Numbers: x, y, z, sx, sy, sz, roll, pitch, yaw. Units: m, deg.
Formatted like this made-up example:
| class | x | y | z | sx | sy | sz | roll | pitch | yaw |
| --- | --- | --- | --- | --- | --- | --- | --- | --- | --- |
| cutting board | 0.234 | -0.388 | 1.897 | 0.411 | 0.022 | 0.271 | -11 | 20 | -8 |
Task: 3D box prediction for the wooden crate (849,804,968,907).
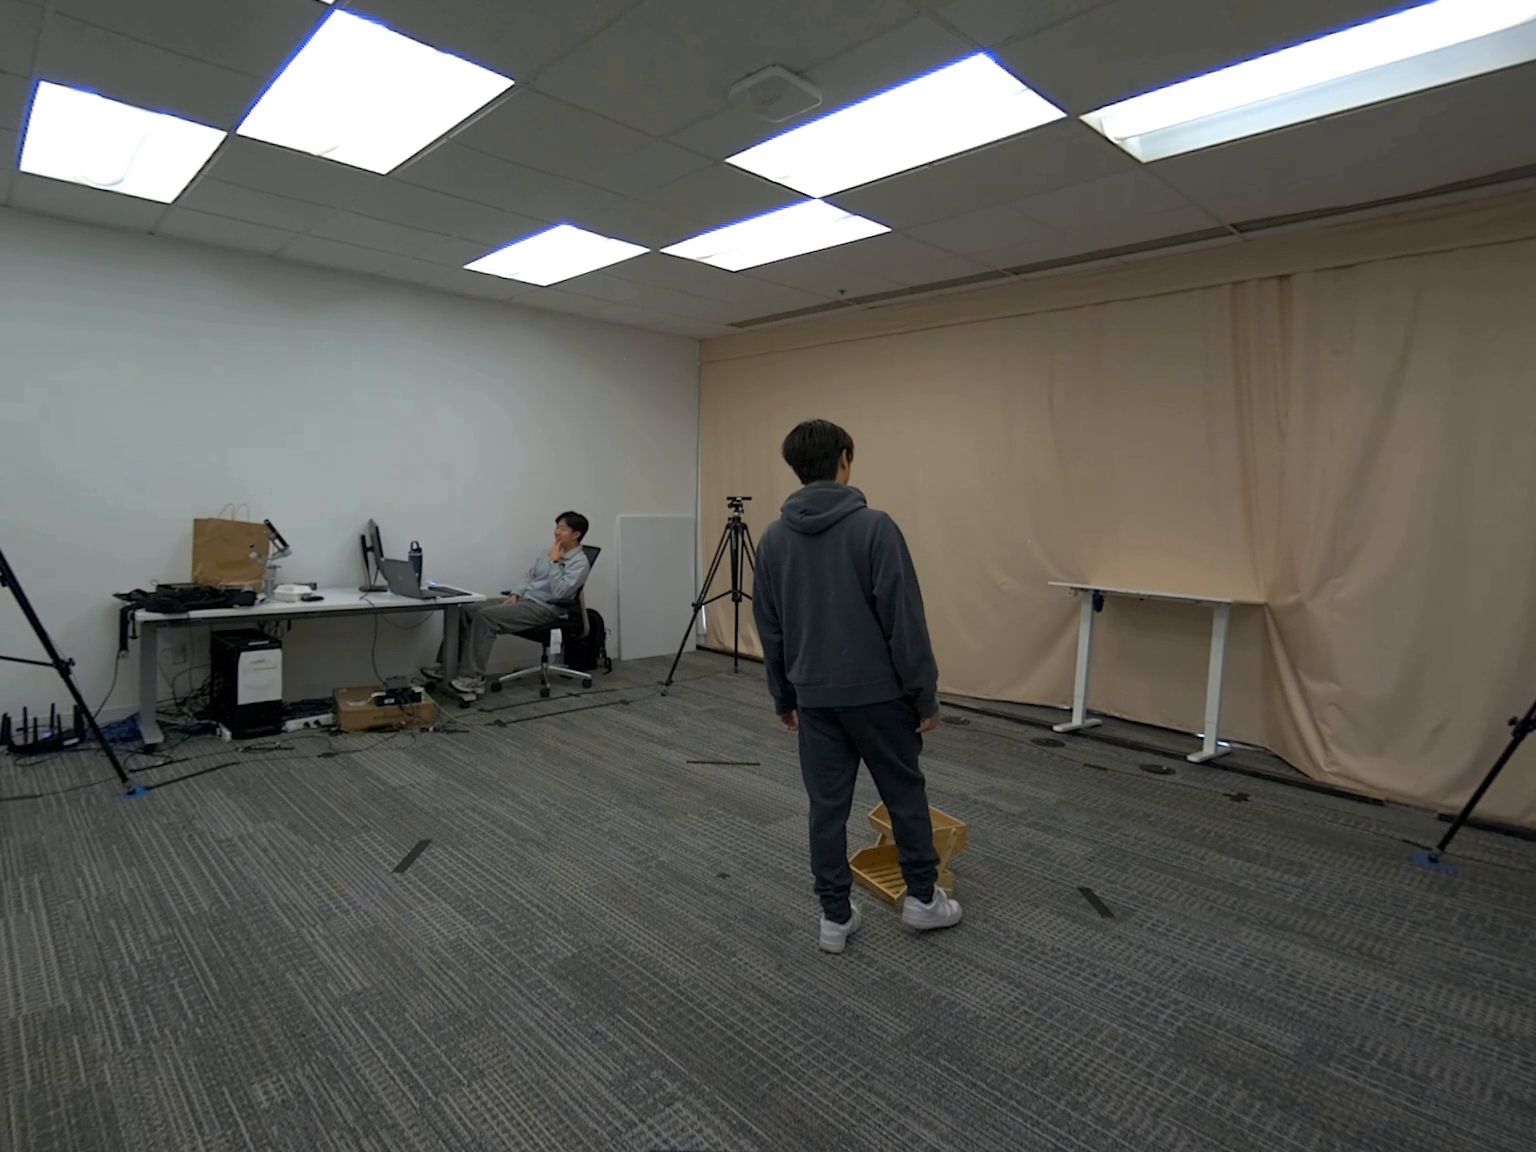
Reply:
| class | x | y | z | sx | sy | sz | roll | pitch | yaw |
| --- | --- | --- | --- | --- | --- | --- | --- | --- | --- |
| wooden crate | 0.490 | 0.990 | 3.046 | 0.296 | 0.272 | 0.332 | 0 | 5 | -29 |
